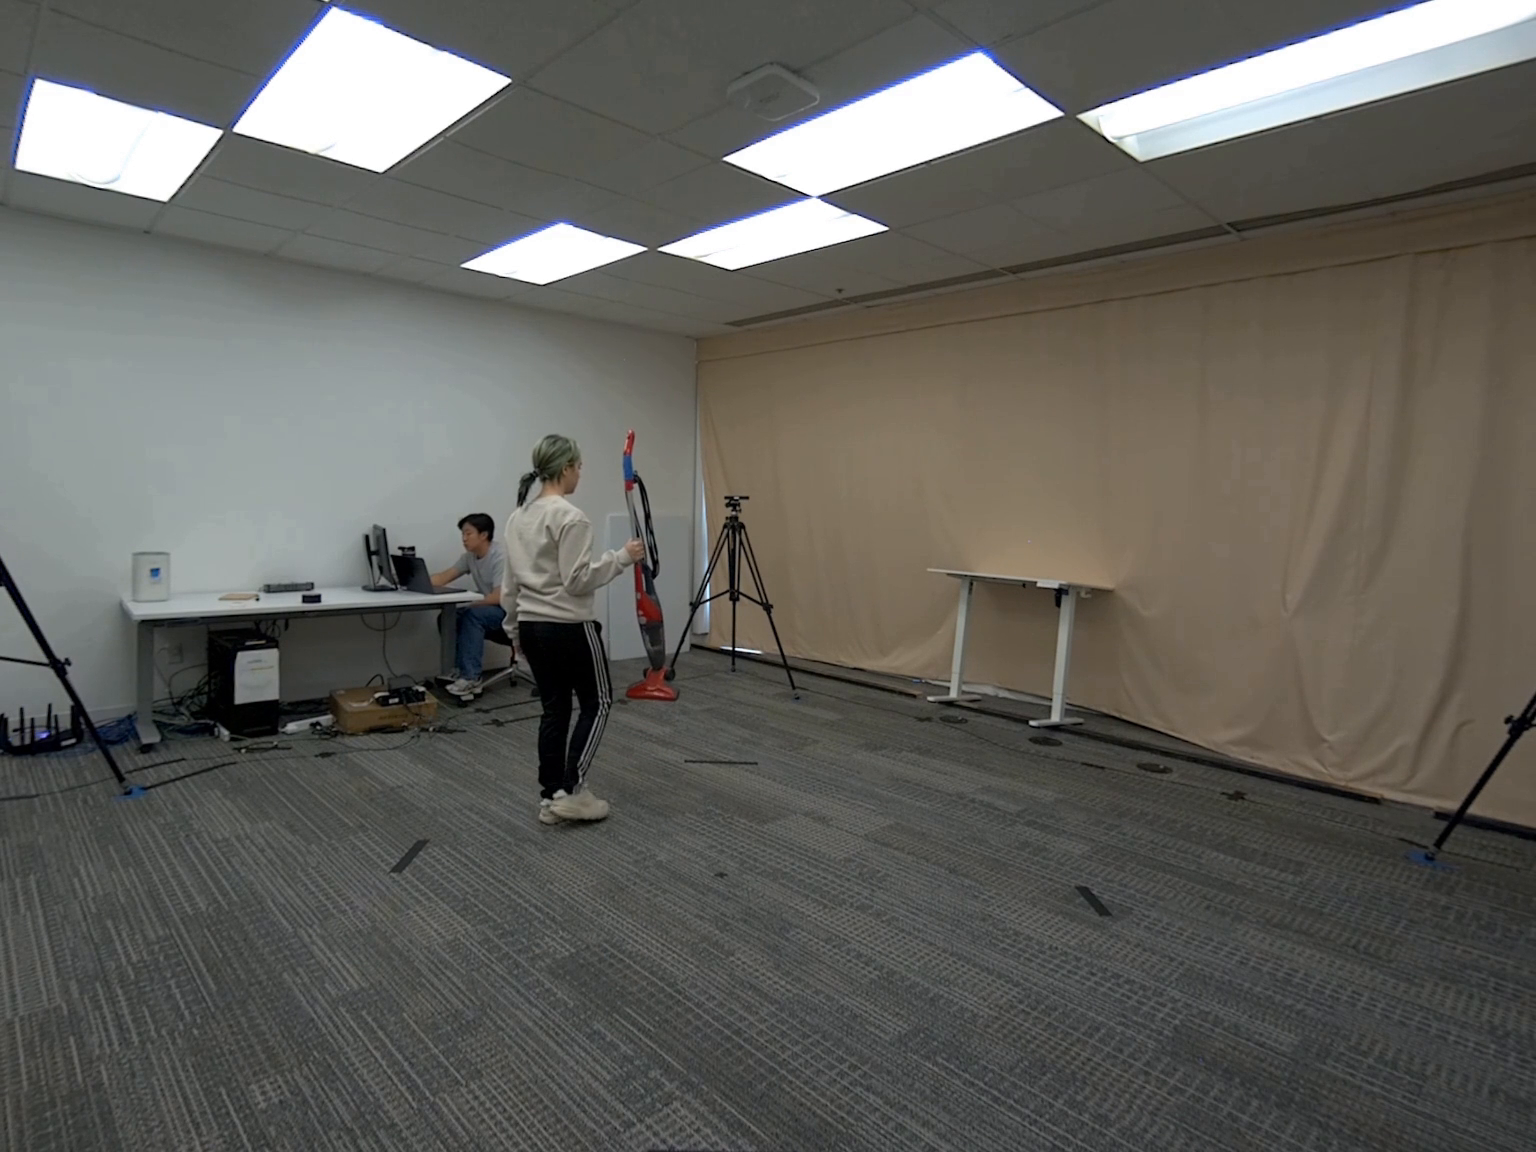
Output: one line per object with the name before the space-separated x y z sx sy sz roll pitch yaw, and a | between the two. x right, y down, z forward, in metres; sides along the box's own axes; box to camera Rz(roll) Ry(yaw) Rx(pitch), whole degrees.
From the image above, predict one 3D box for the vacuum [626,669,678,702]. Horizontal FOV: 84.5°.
vacuum | -0.517 -0.055 3.454 0.257 1.043 0.142 -2 7 25
